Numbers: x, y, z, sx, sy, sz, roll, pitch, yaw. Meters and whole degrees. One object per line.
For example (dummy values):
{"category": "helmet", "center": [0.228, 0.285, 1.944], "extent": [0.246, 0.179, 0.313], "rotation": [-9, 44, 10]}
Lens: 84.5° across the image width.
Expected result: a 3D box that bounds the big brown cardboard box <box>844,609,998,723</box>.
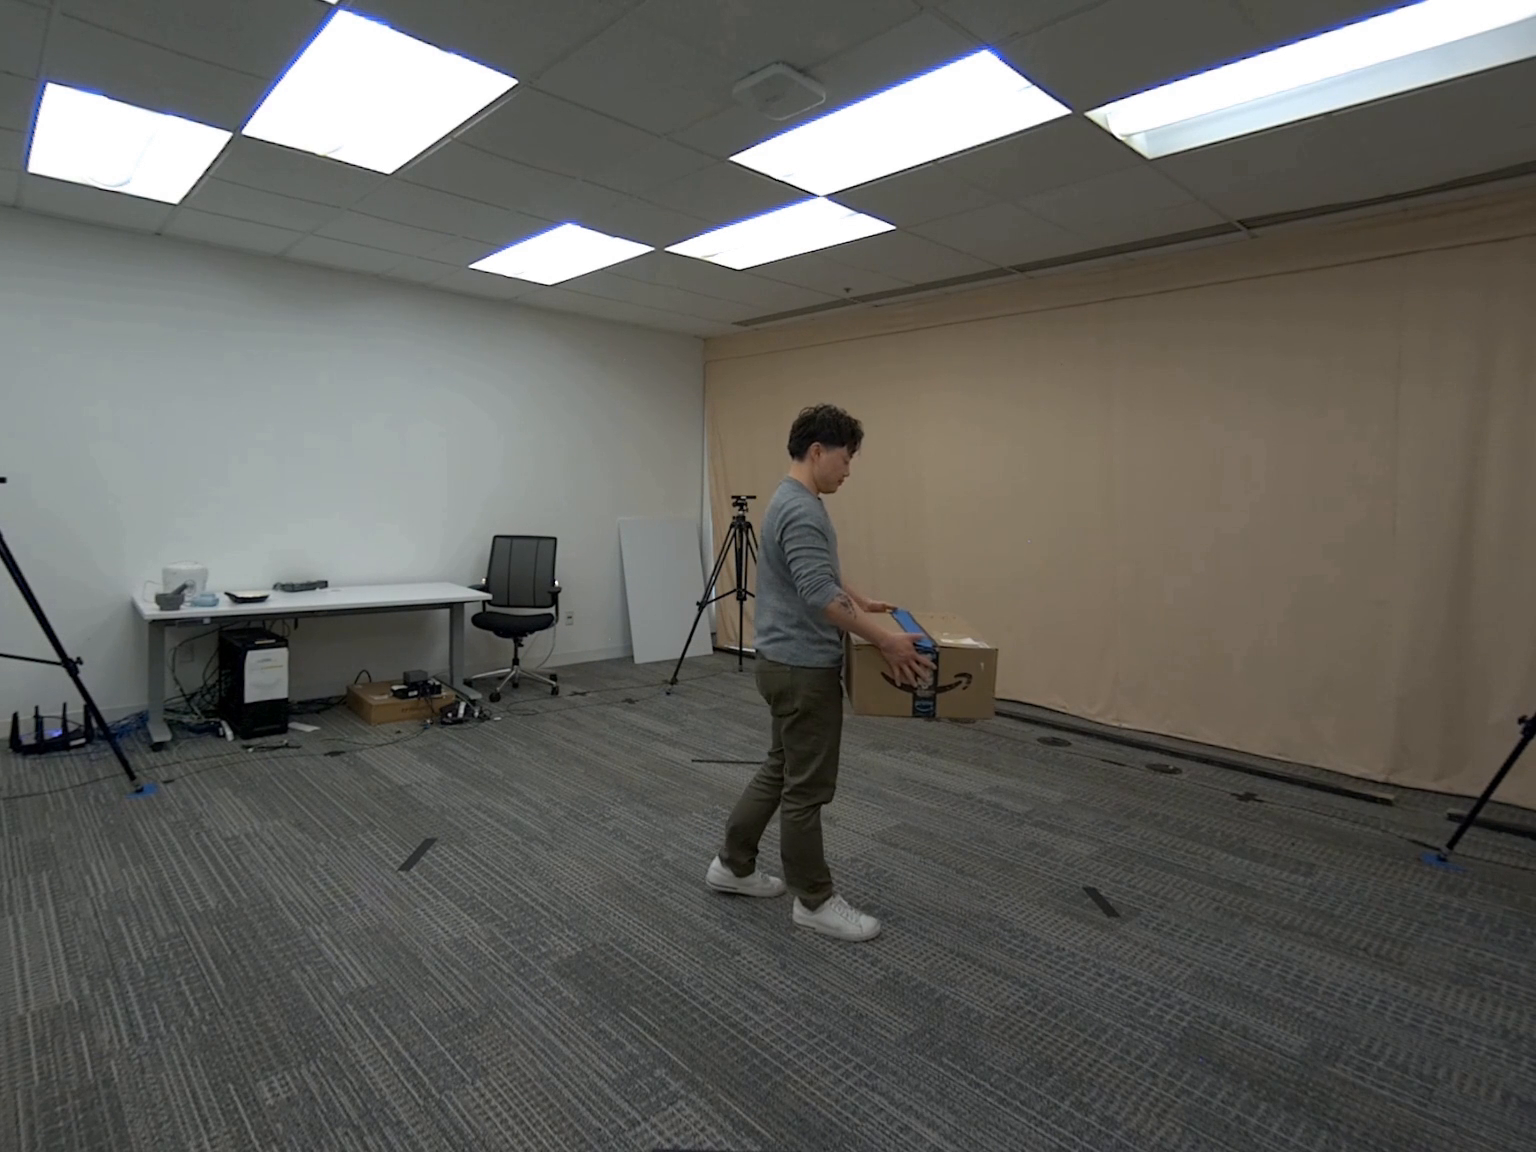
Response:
{"category": "big brown cardboard box", "center": [0.446, 0.266, 2.762], "extent": [0.418, 0.232, 0.591], "rotation": [1, 8, 1]}
